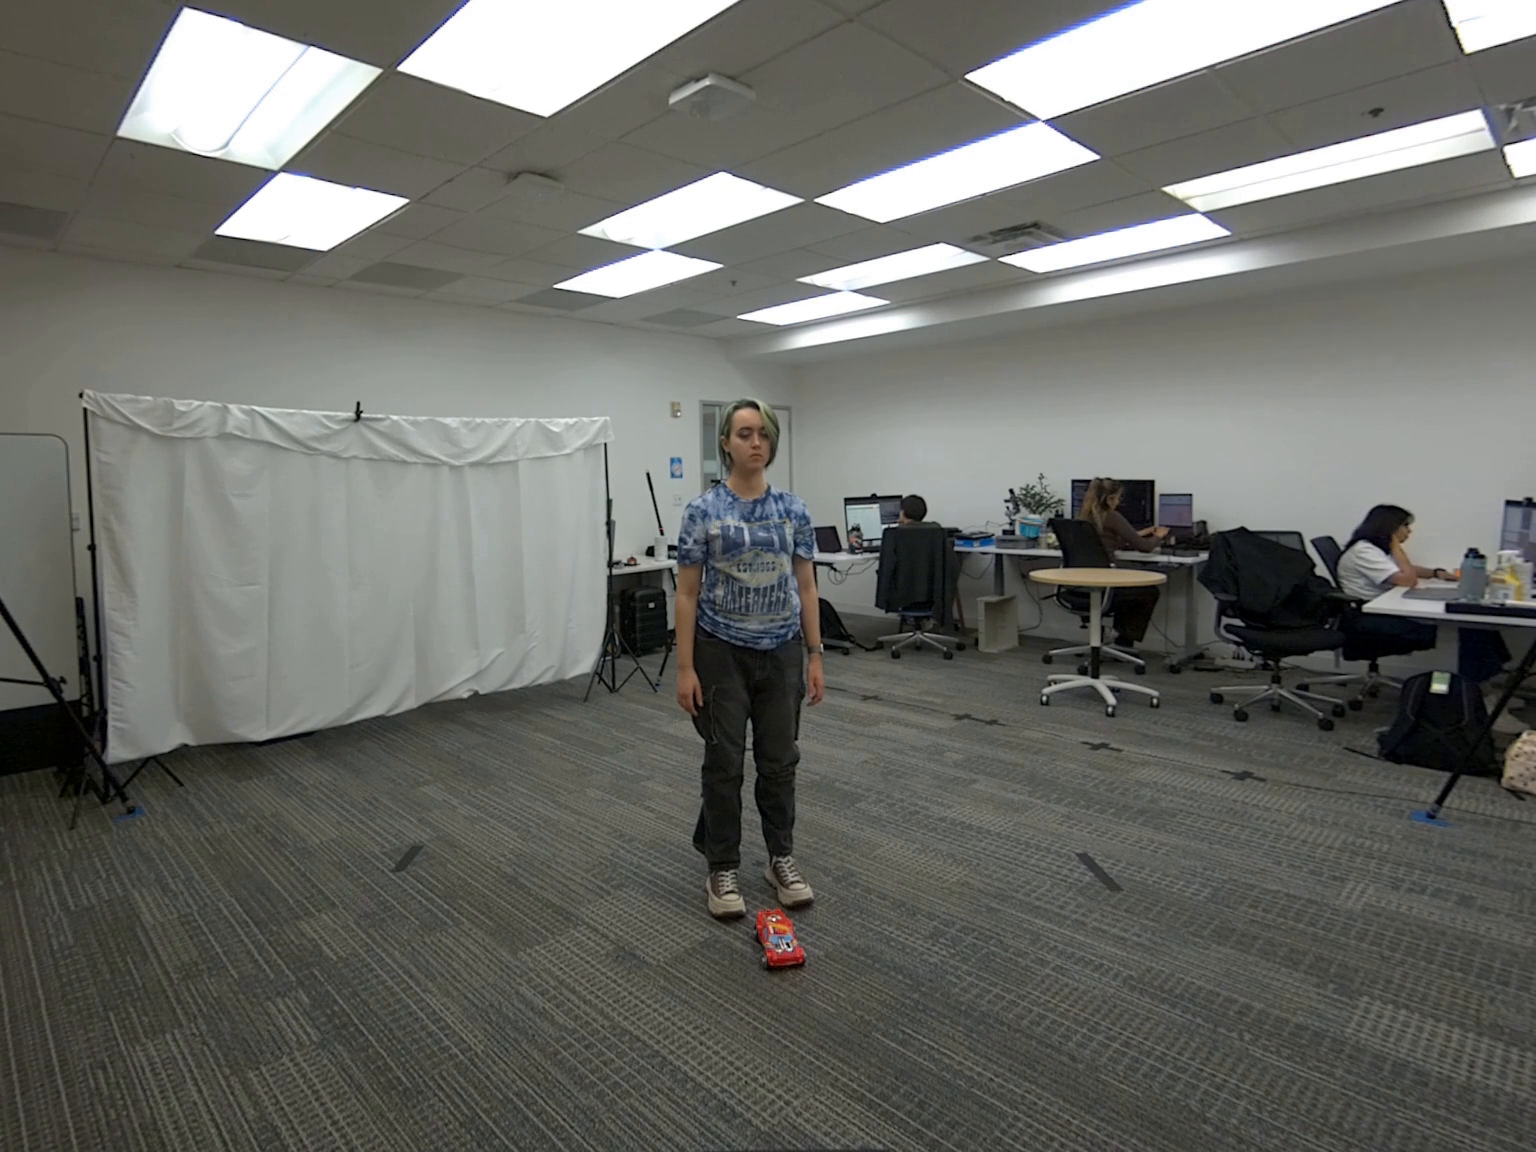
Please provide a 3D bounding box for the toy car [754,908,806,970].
[{"bbox_3d":[0.030,1.081,2.538,0.129,0.082,0.260,-4,16,-9],"label":"toy car"}]
